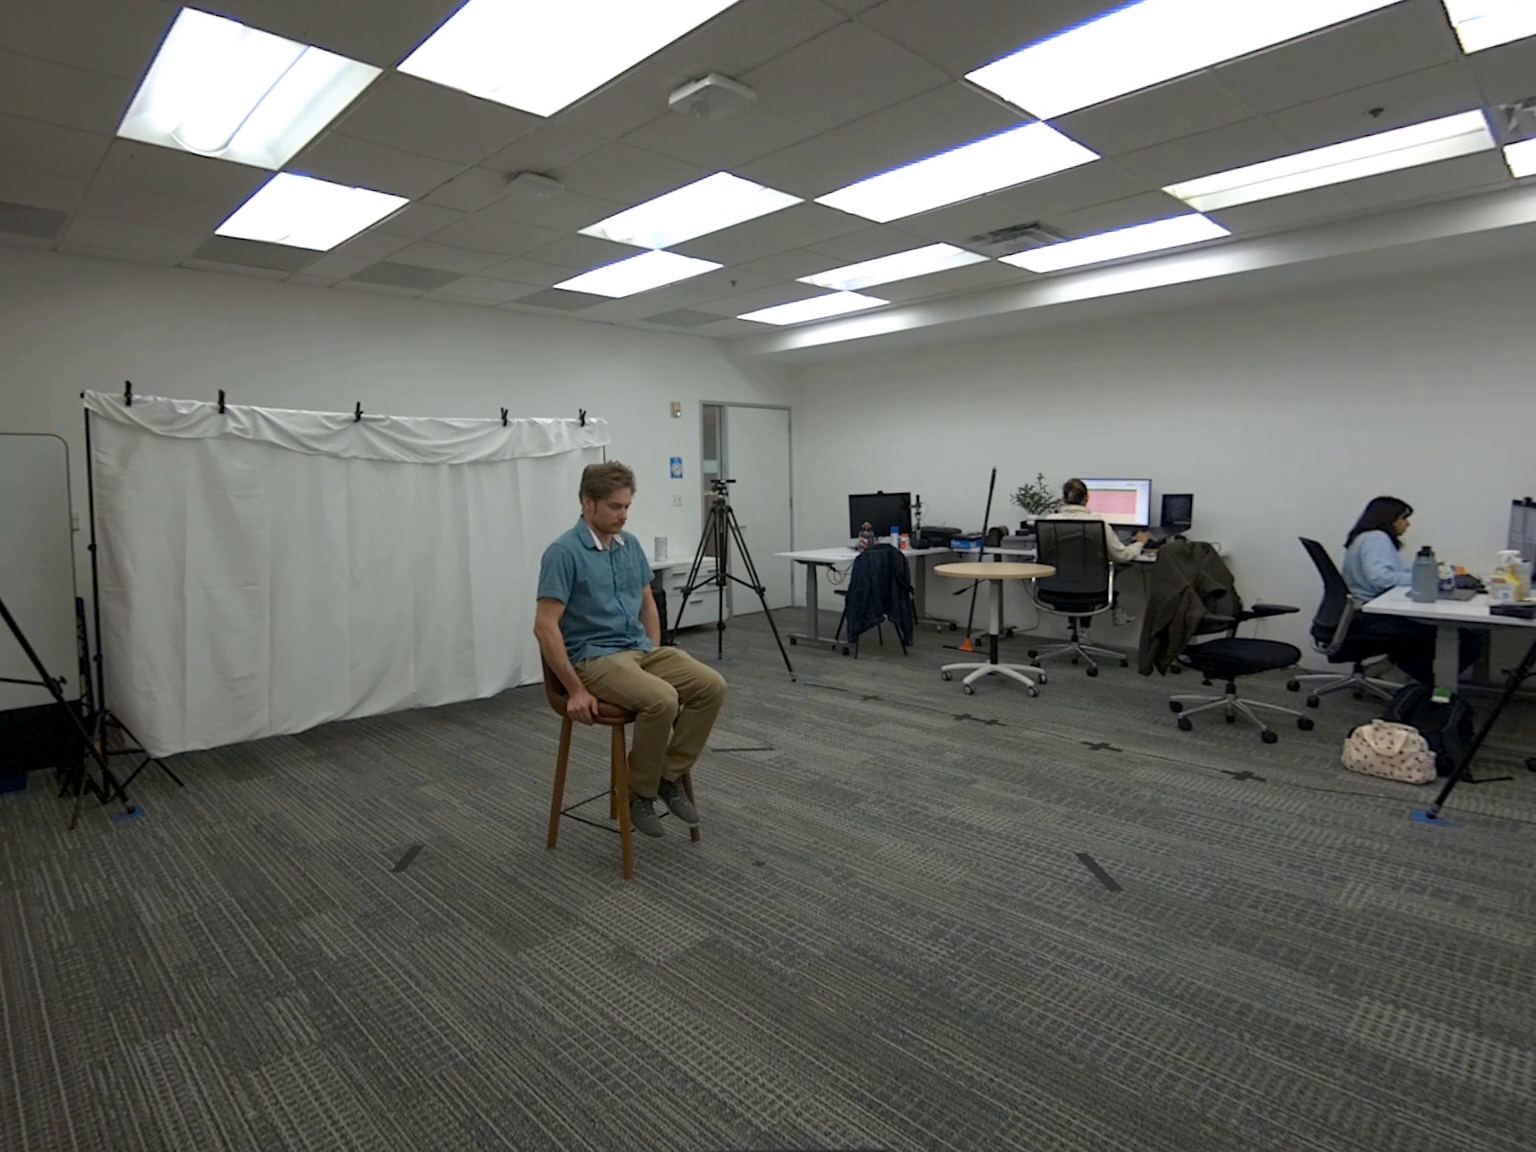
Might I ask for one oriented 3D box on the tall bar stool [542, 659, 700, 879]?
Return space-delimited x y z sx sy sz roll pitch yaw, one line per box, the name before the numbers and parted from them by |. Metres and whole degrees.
tall bar stool | -0.576 0.602 3.287 0.480 0.889 0.444 -2 1 36
